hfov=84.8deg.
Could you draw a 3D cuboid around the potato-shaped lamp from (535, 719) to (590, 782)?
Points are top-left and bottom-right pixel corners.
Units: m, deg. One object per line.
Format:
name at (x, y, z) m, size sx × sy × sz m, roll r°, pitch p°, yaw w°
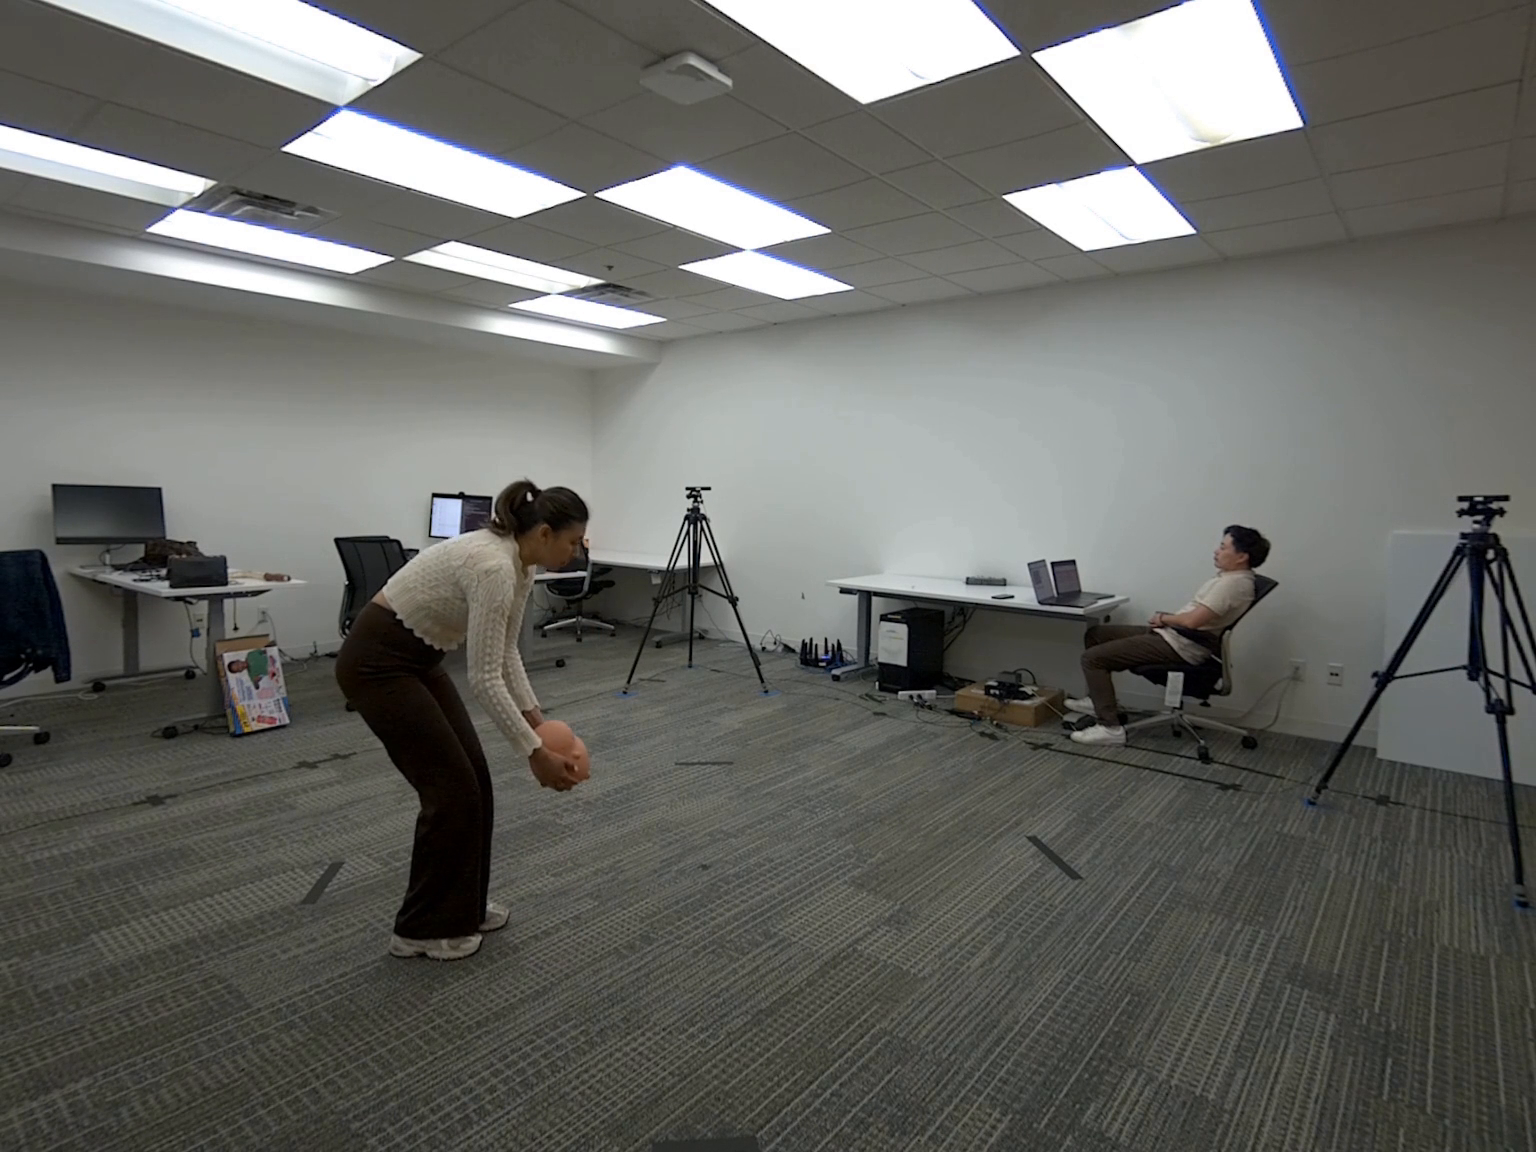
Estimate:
potato-shaped lamp at (-0.637, 0.524, 2.519) m, size 0.169 × 0.193 × 0.171 m, roll -17°, pitch 27°, yaw -17°
